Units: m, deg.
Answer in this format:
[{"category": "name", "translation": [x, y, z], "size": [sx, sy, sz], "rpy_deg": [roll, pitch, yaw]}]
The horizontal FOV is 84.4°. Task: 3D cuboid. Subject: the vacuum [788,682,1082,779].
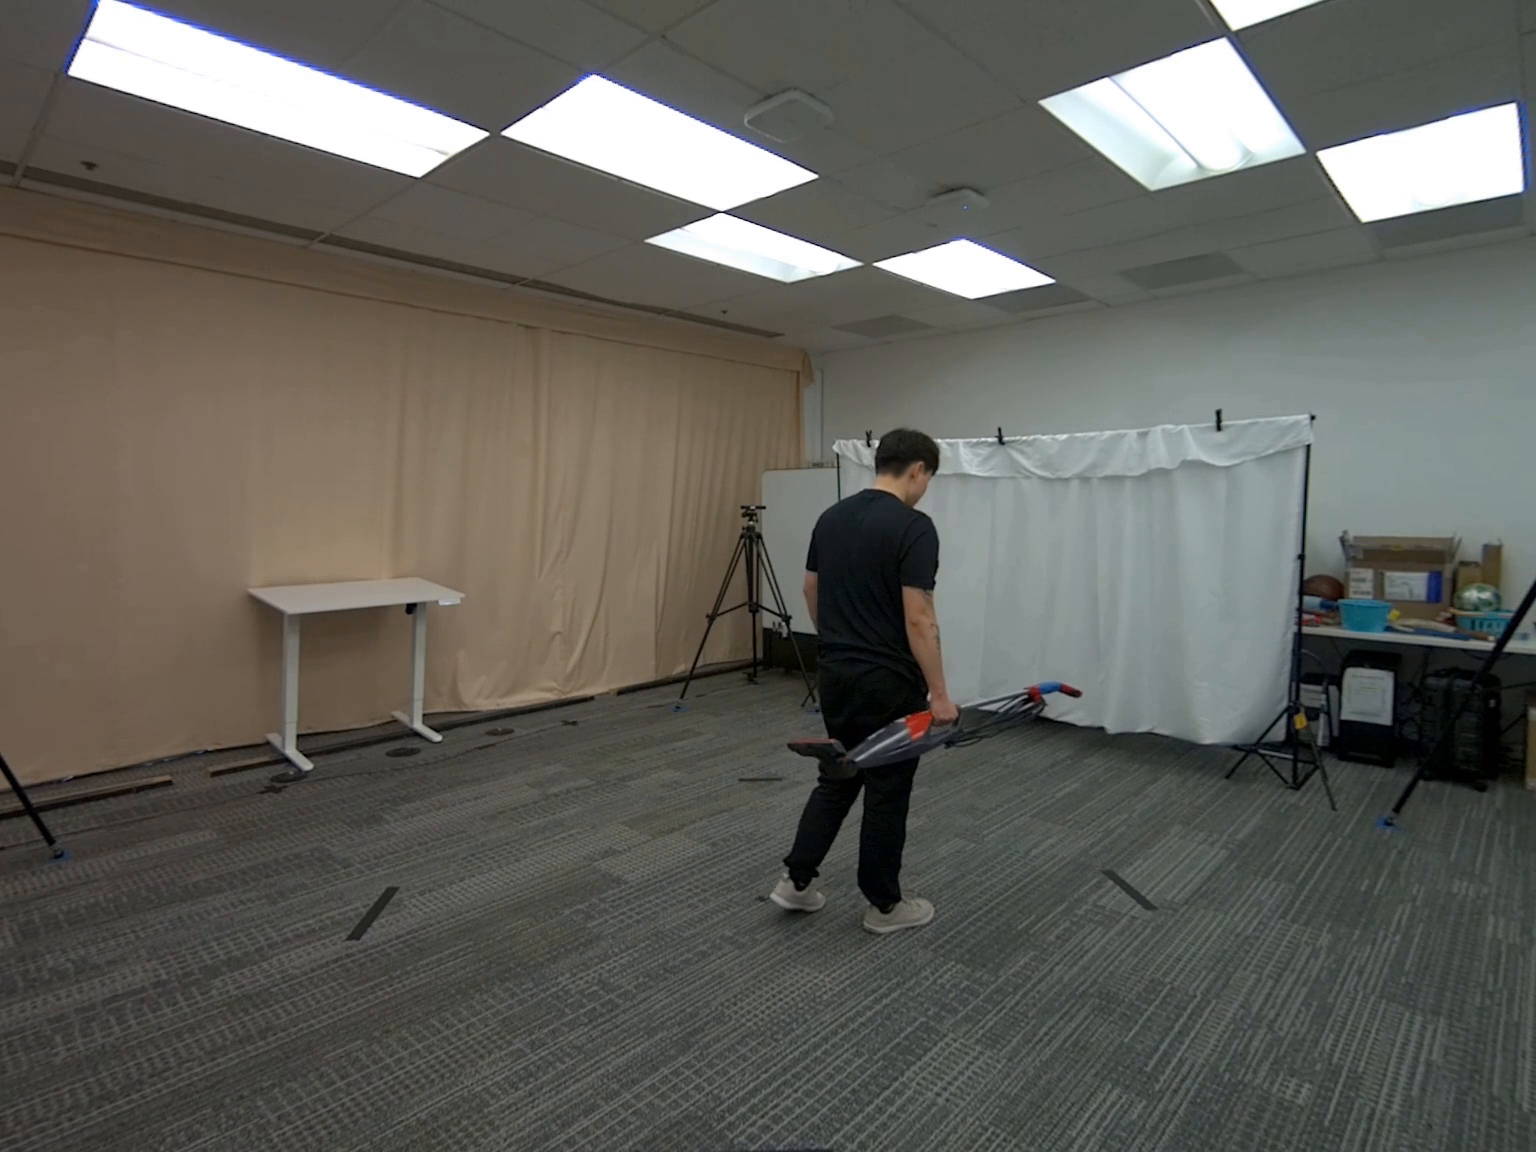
[{"category": "vacuum", "translation": [0.610, 0.464, 2.630], "size": [1.025, 0.145, 0.257], "rpy_deg": [-8, -7, -27]}]
